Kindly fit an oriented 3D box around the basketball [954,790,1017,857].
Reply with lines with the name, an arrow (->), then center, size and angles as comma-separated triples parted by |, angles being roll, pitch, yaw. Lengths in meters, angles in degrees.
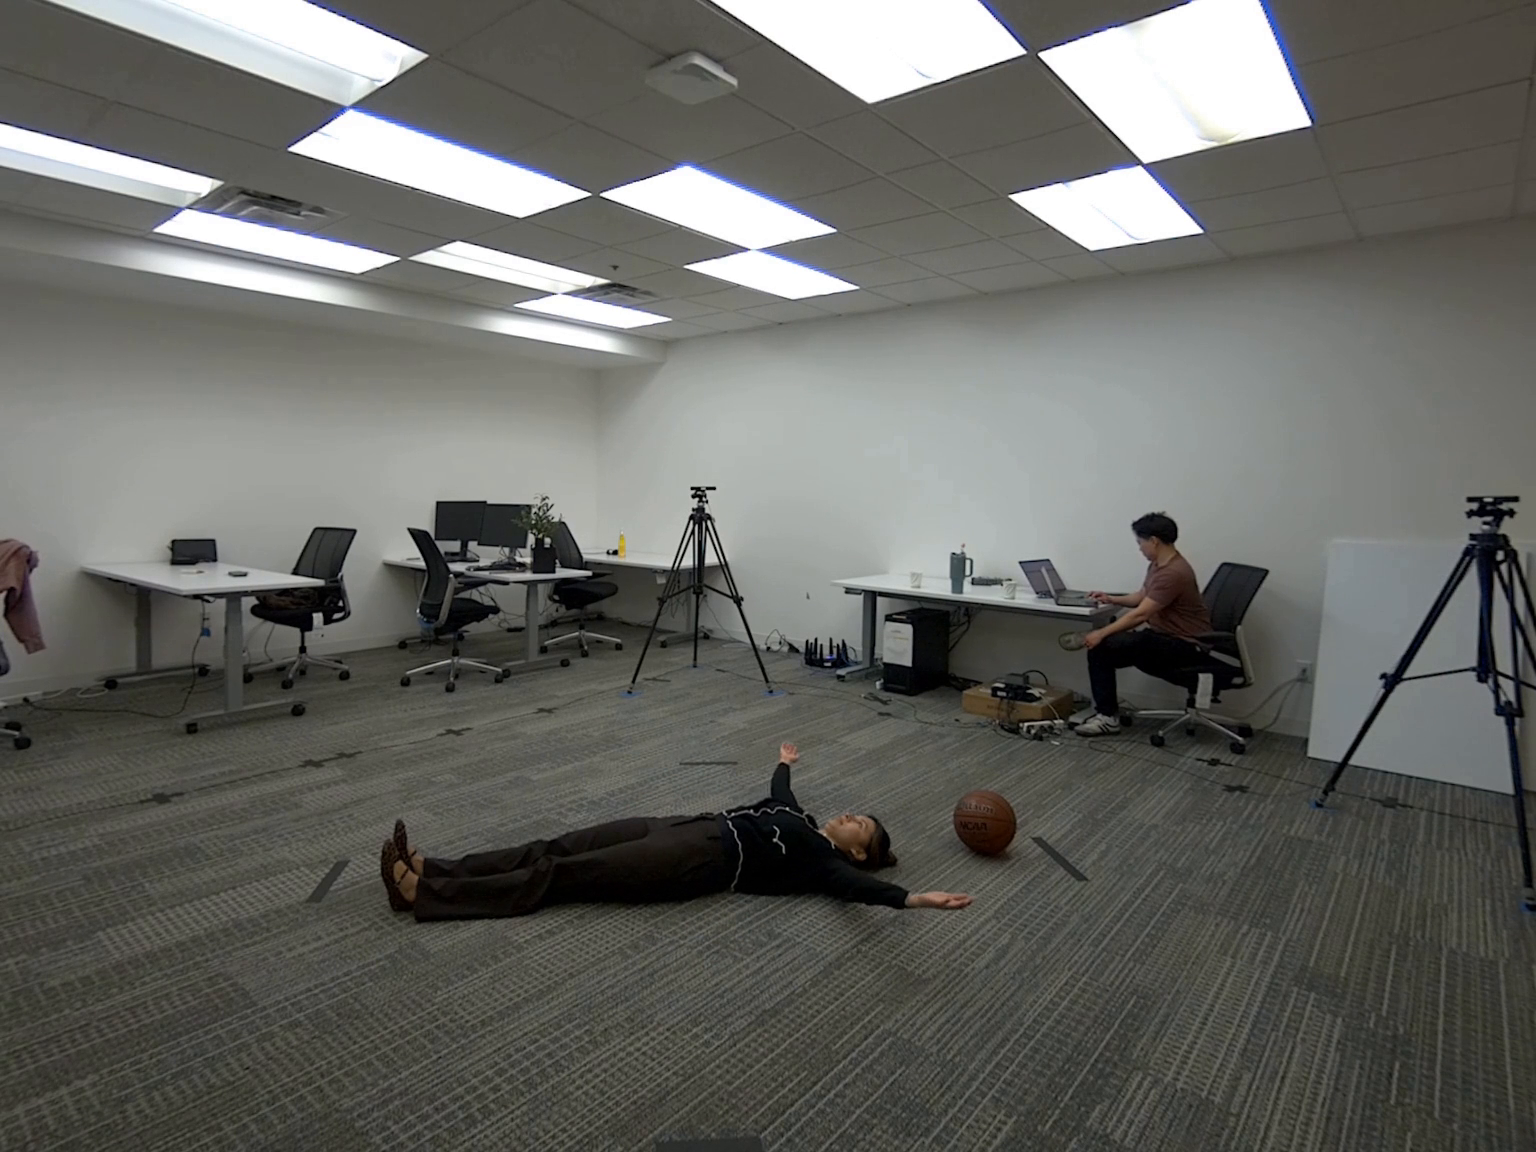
basketball -> 0.833, 0.947, 3.311 | 0.236, 0.235, 0.237 | 1, 4, -2
